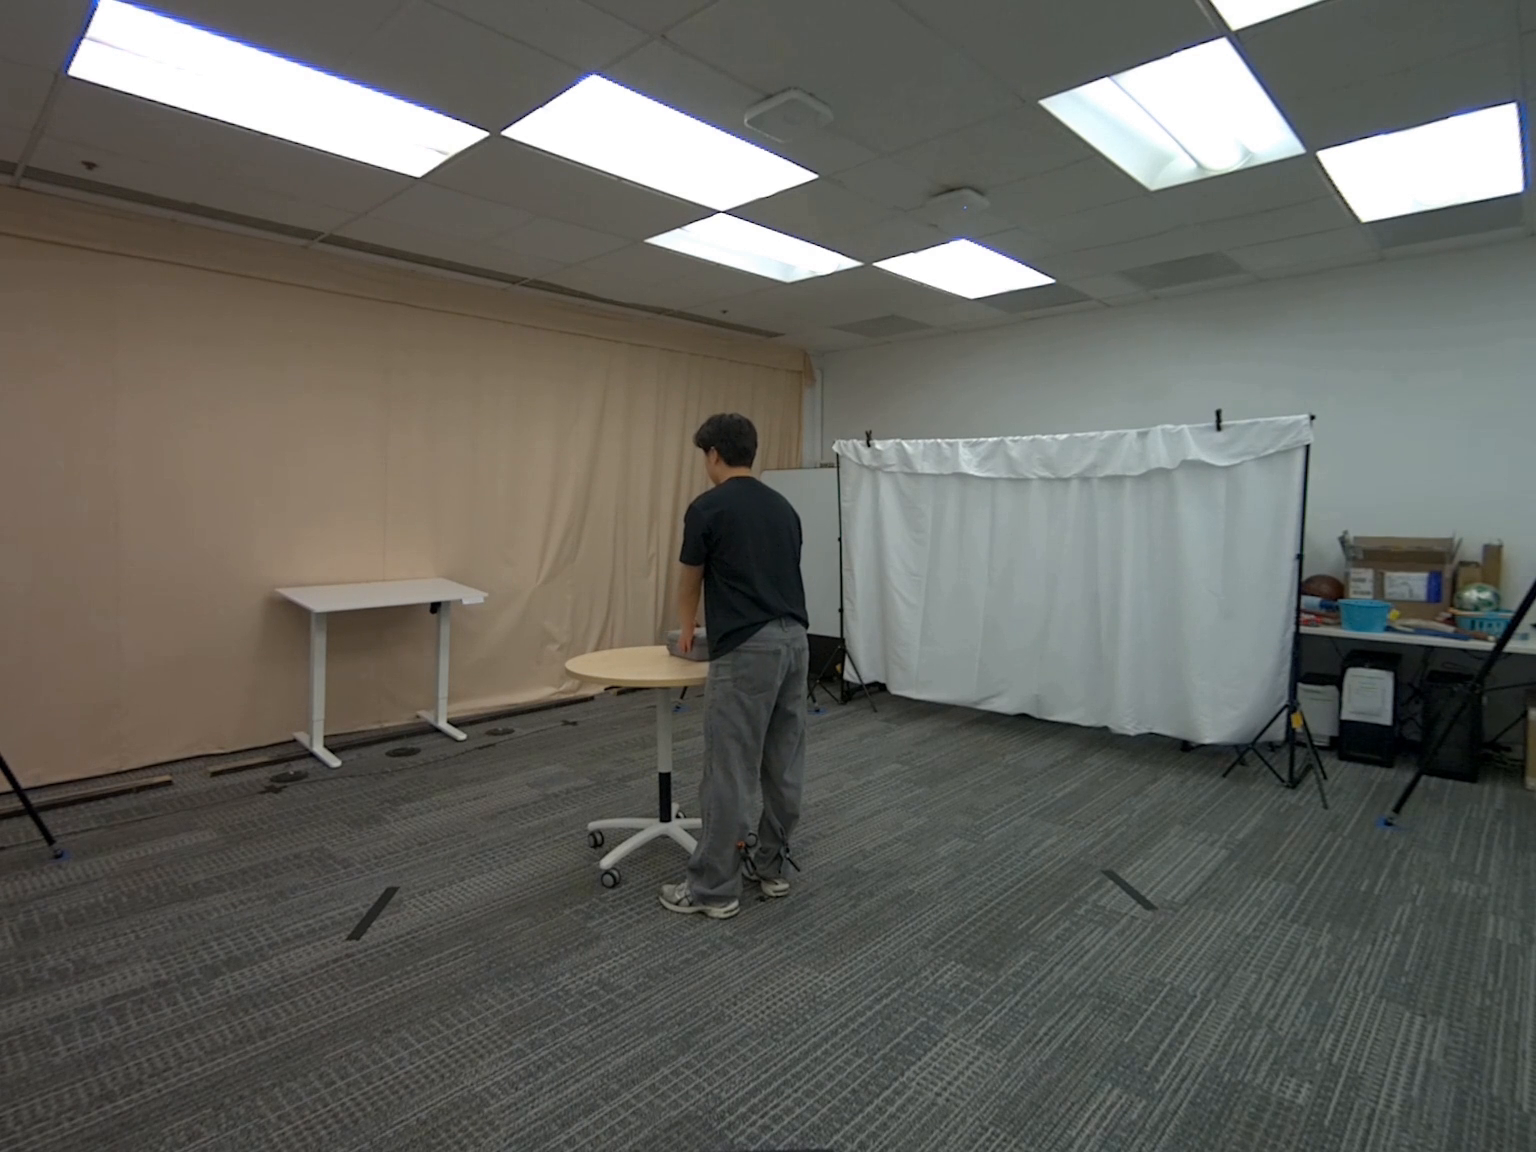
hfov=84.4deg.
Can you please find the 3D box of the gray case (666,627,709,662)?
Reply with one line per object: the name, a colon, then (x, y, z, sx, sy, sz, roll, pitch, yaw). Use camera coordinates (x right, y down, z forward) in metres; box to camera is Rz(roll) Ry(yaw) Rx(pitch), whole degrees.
gray case: (-0.262, 0.274, 3.453, 0.256, 0.103, 0.296, -4, 4, -33)
